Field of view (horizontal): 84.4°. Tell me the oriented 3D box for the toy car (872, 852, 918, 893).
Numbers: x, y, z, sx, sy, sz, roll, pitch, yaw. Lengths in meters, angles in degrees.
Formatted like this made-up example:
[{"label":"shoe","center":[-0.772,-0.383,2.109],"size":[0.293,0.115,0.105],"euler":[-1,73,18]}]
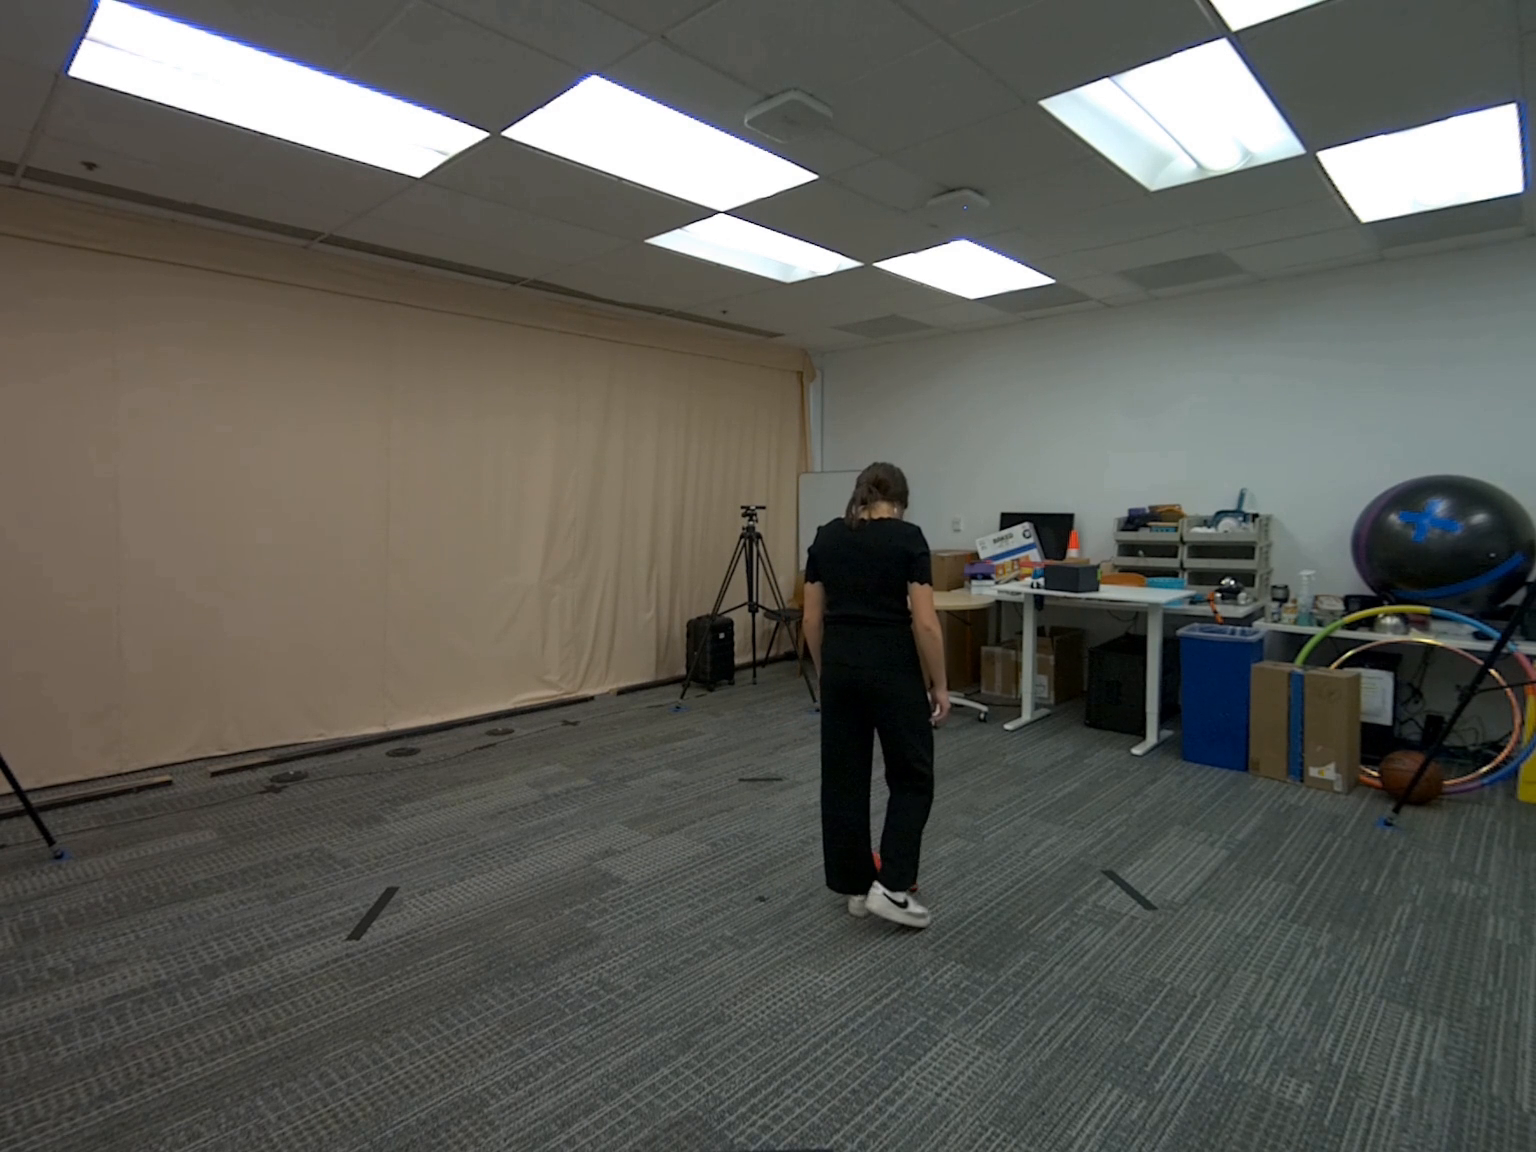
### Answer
[{"label":"toy car","center":[0.466,1.097,3.124],"size":[0.129,0.082,0.260],"euler":[-1,16,-12]}]
